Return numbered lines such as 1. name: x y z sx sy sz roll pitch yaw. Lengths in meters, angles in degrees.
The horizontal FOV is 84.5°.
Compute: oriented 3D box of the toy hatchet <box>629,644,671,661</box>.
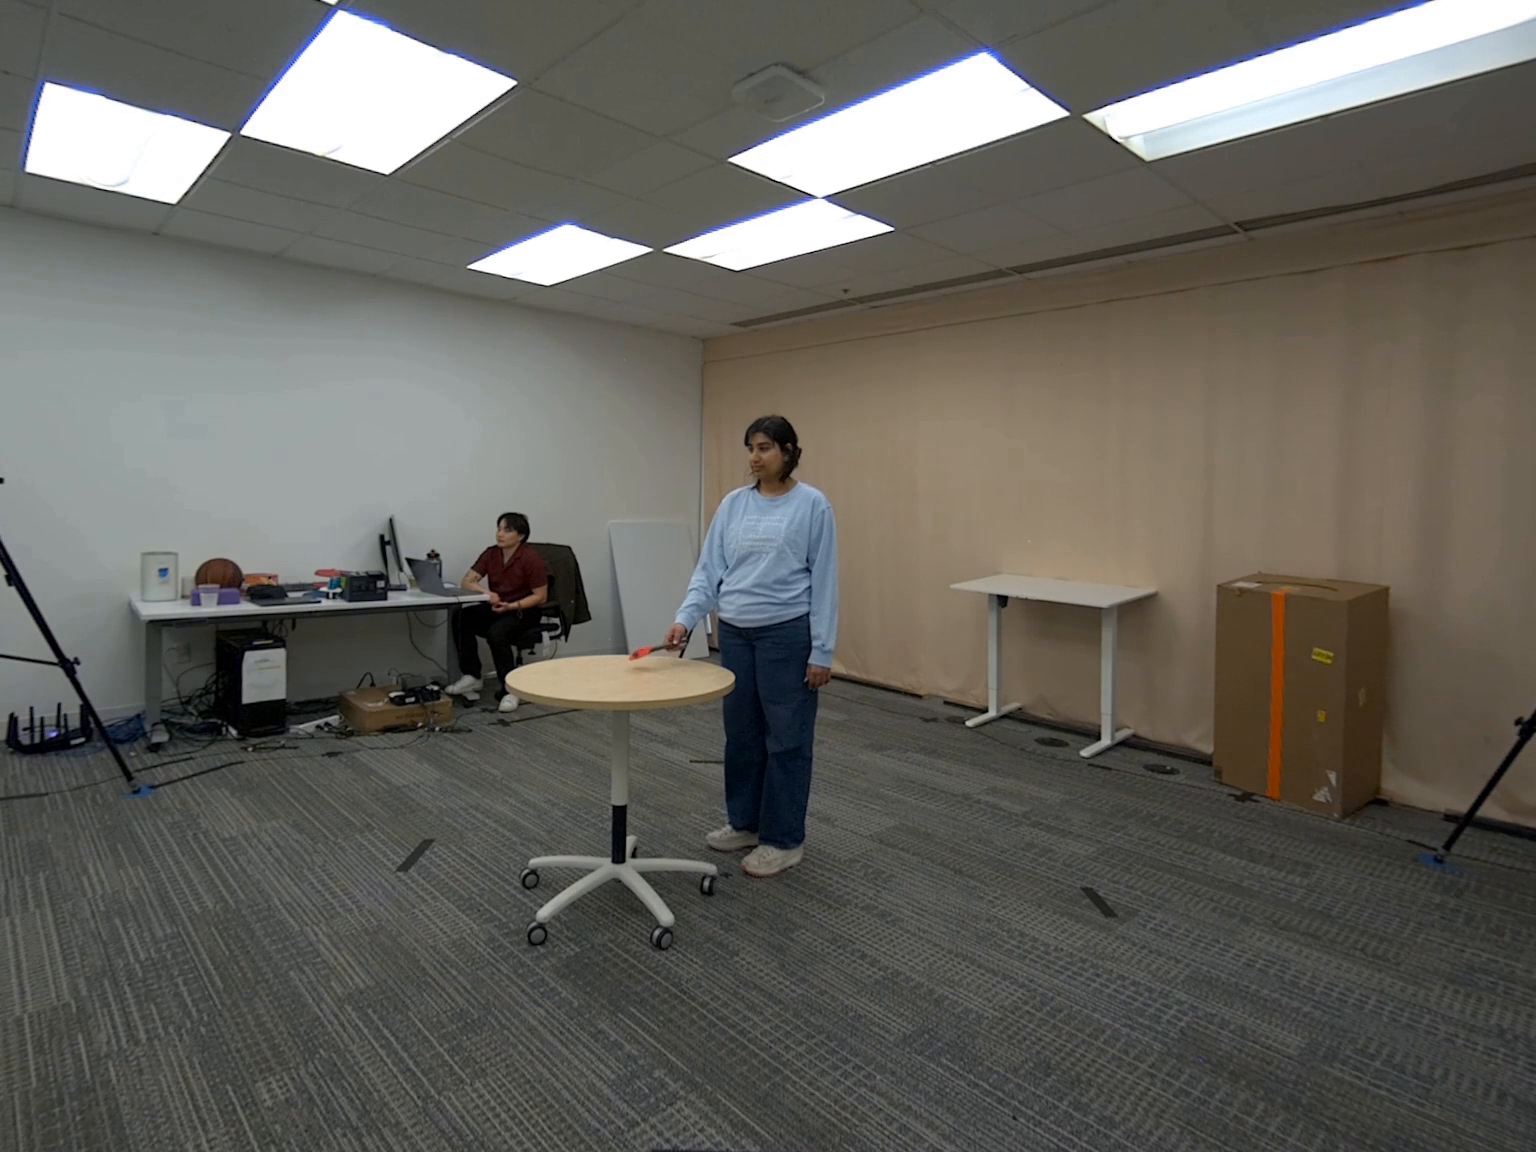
1. toy hatchet: -0.405 0.267 3.017 0.132 0.030 0.264 -27 -12 23
